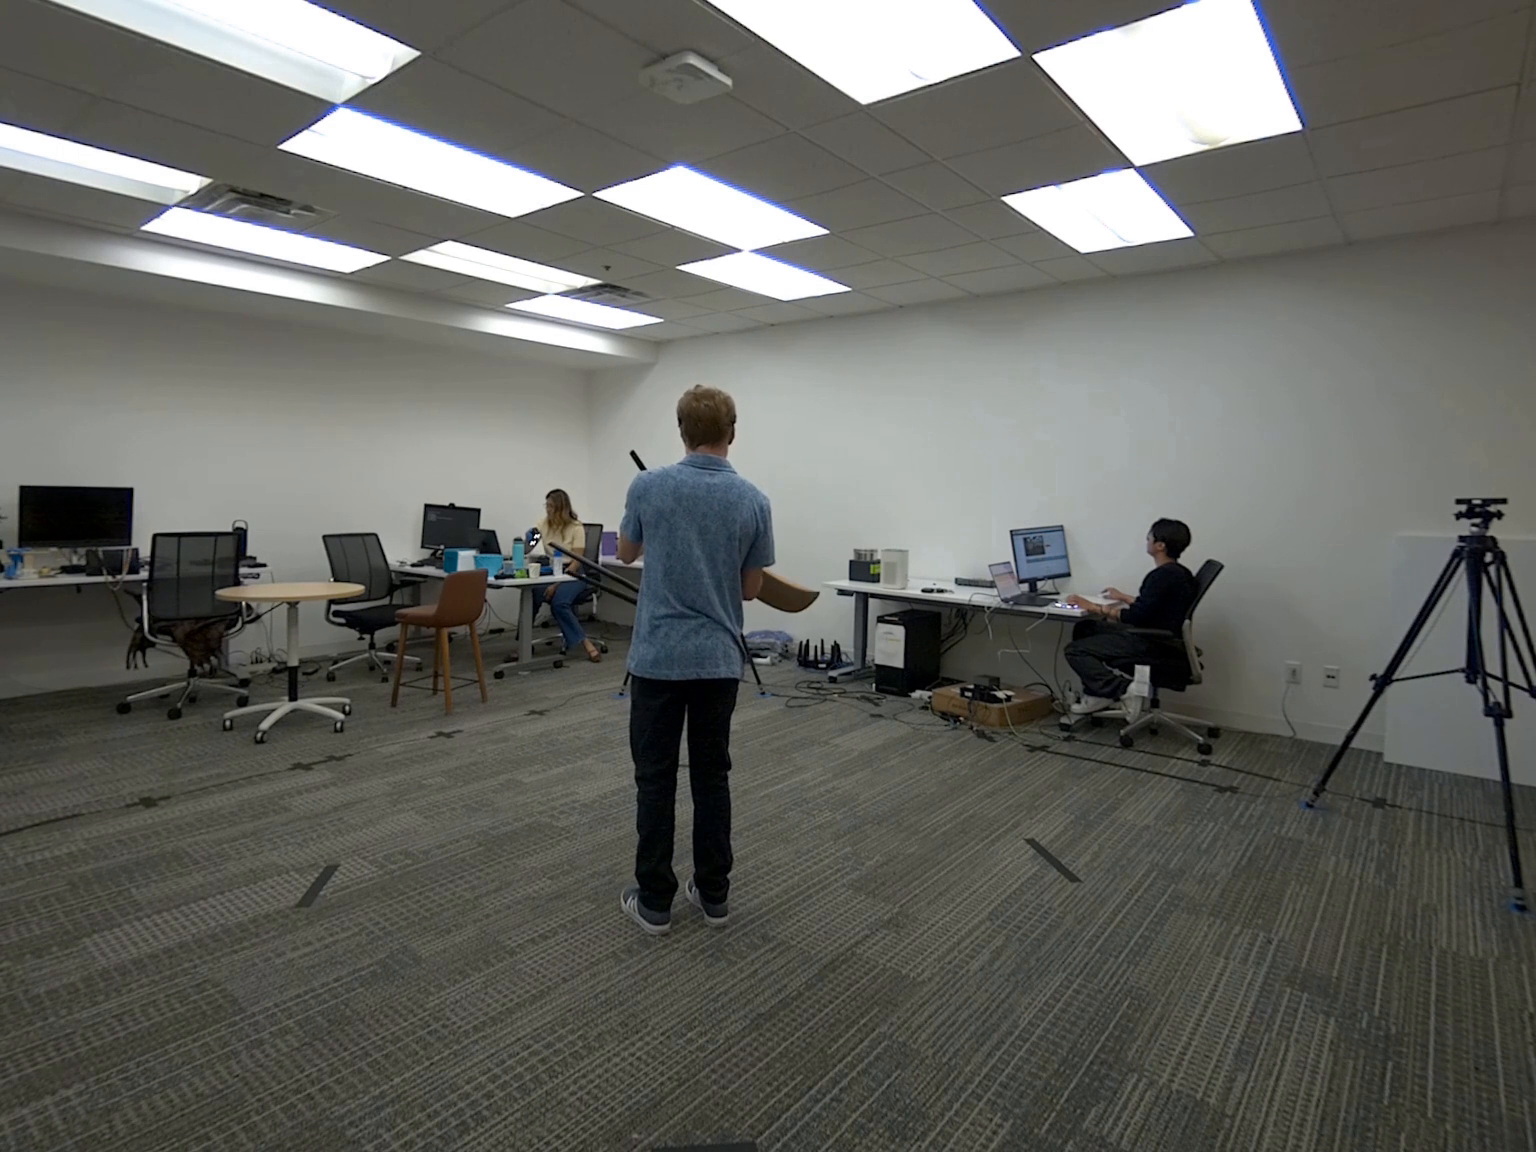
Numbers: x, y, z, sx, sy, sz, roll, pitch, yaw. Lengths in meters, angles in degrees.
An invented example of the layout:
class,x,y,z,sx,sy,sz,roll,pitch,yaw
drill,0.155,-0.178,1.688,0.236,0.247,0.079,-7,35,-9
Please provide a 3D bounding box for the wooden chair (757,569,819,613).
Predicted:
class,x,y,z,sx,sy,sz,roll,pitch,yaw
wooden chair,-0.328,0.045,3.152,0.886,0.524,0.472,35,-14,6
